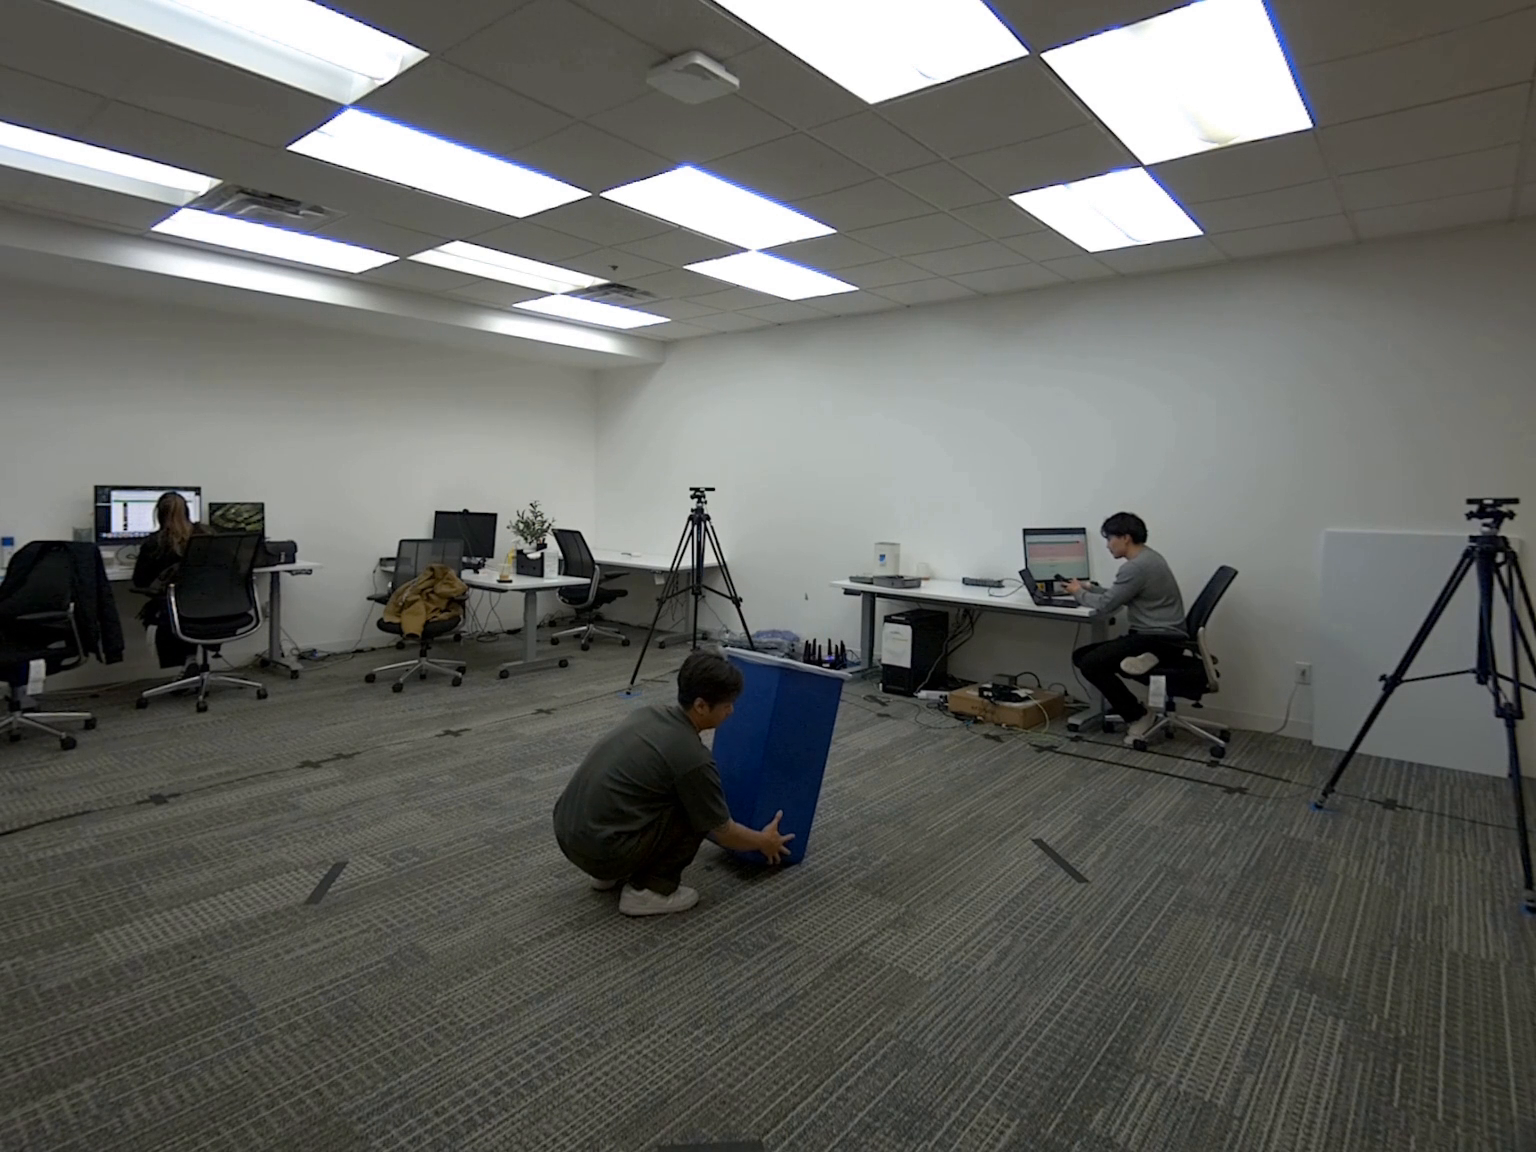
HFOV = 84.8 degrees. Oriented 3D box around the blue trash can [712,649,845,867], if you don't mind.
[{"bbox_3d":[-0.006,0.665,3.256,0.364,0.717,0.386,15,-7,-39],"label":"blue trash can"}]
